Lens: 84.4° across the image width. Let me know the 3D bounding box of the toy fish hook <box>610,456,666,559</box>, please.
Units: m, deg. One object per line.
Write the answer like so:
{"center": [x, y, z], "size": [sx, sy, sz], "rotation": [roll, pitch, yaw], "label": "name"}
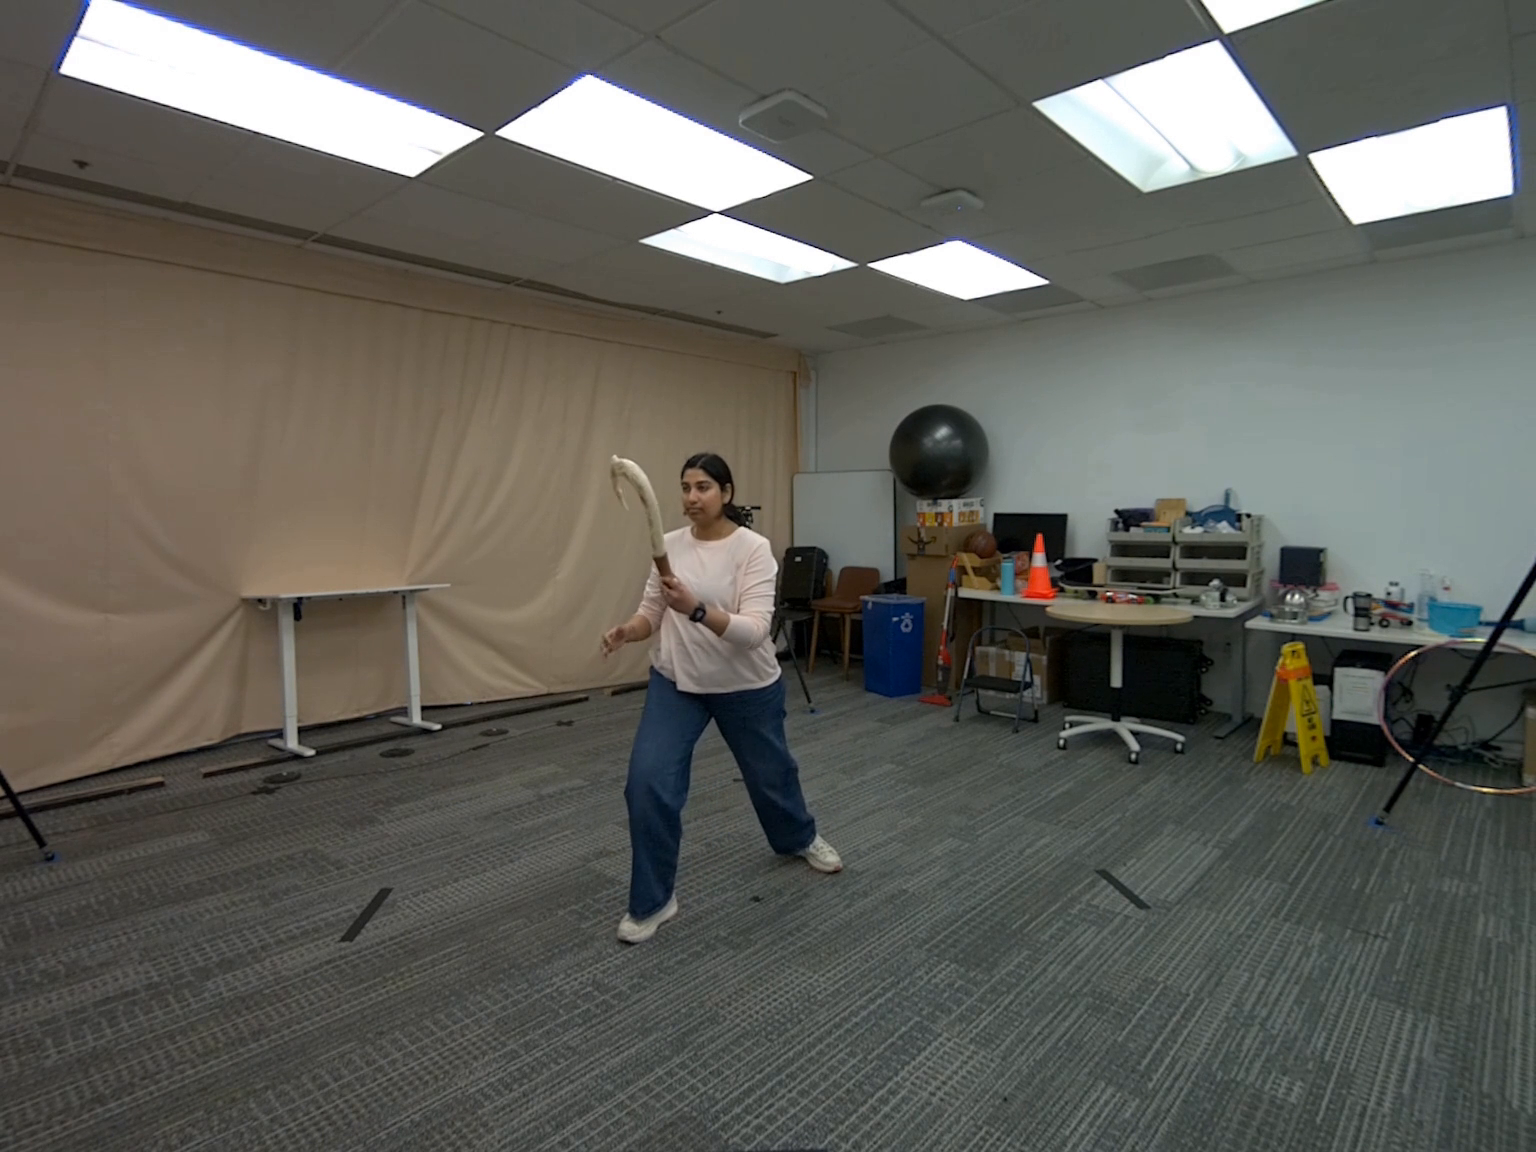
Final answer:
{"center": [-0.355, -0.126, 2.506], "size": [0.047, 0.496, 0.233], "rotation": [-26, 32, -24], "label": "toy fish hook"}
